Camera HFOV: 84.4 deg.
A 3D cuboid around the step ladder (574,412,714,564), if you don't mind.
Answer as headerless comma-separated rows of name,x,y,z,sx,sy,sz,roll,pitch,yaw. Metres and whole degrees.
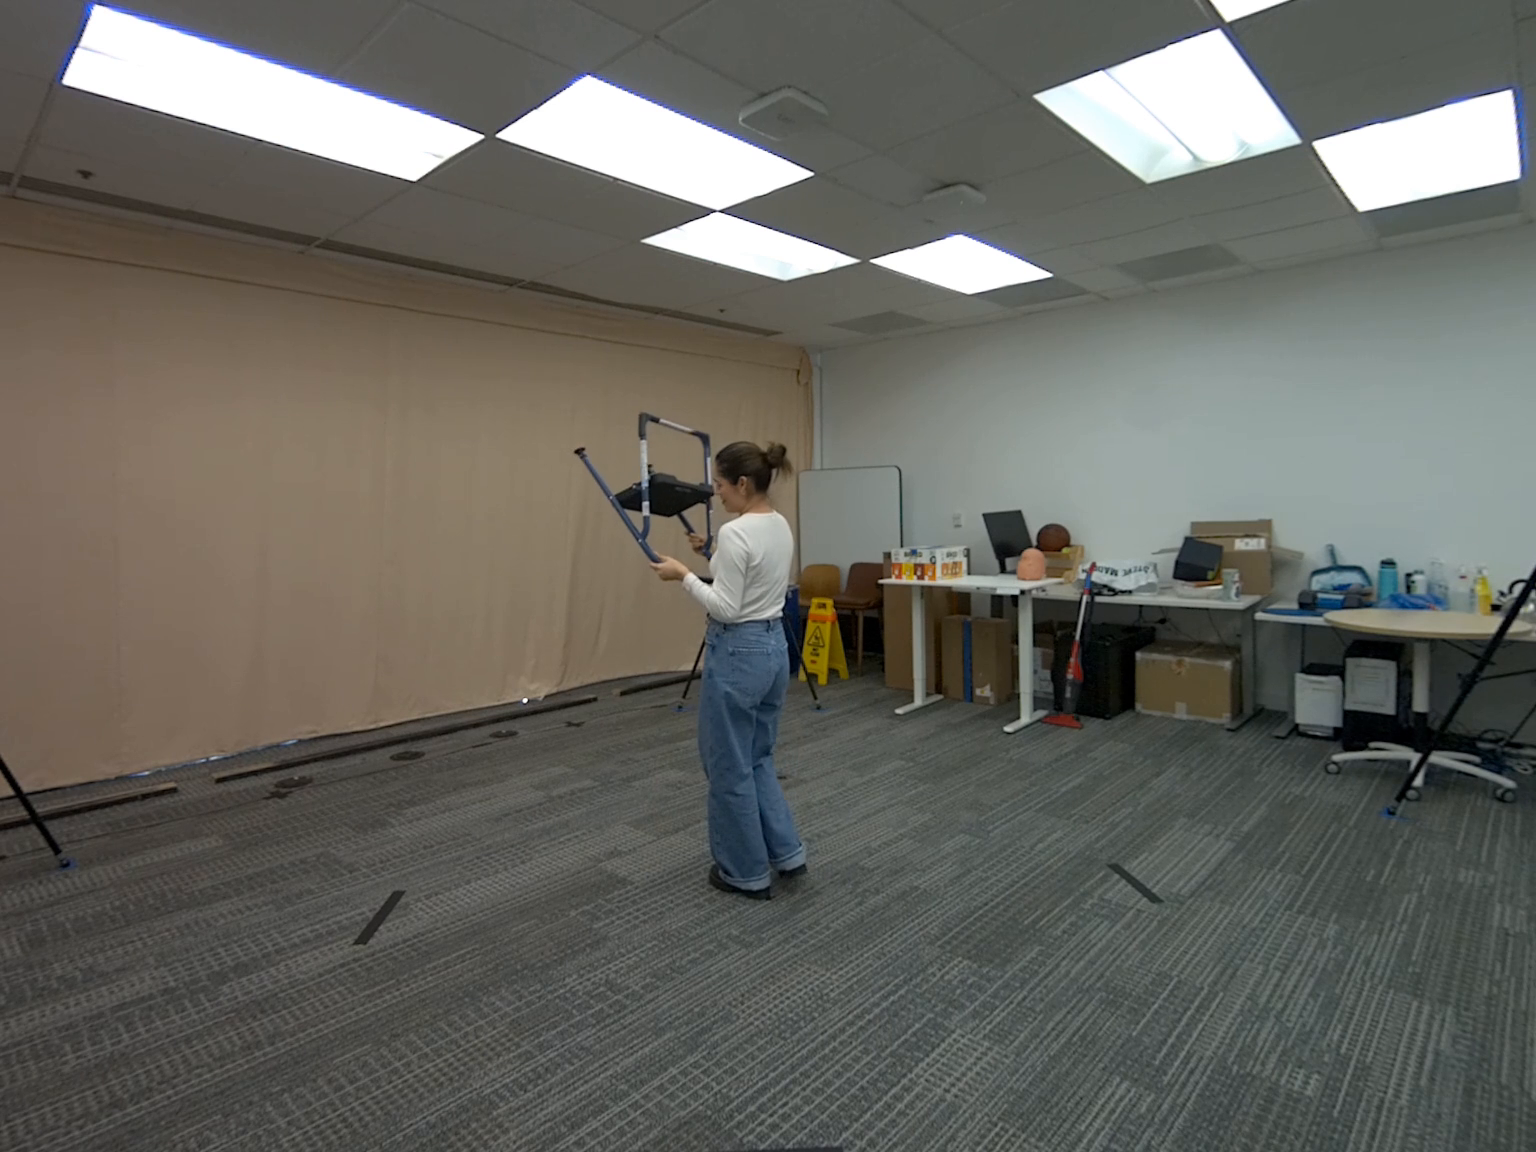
step ladder,-0.381,-0.228,3.140,0.355,0.615,0.417,-26,-17,29
